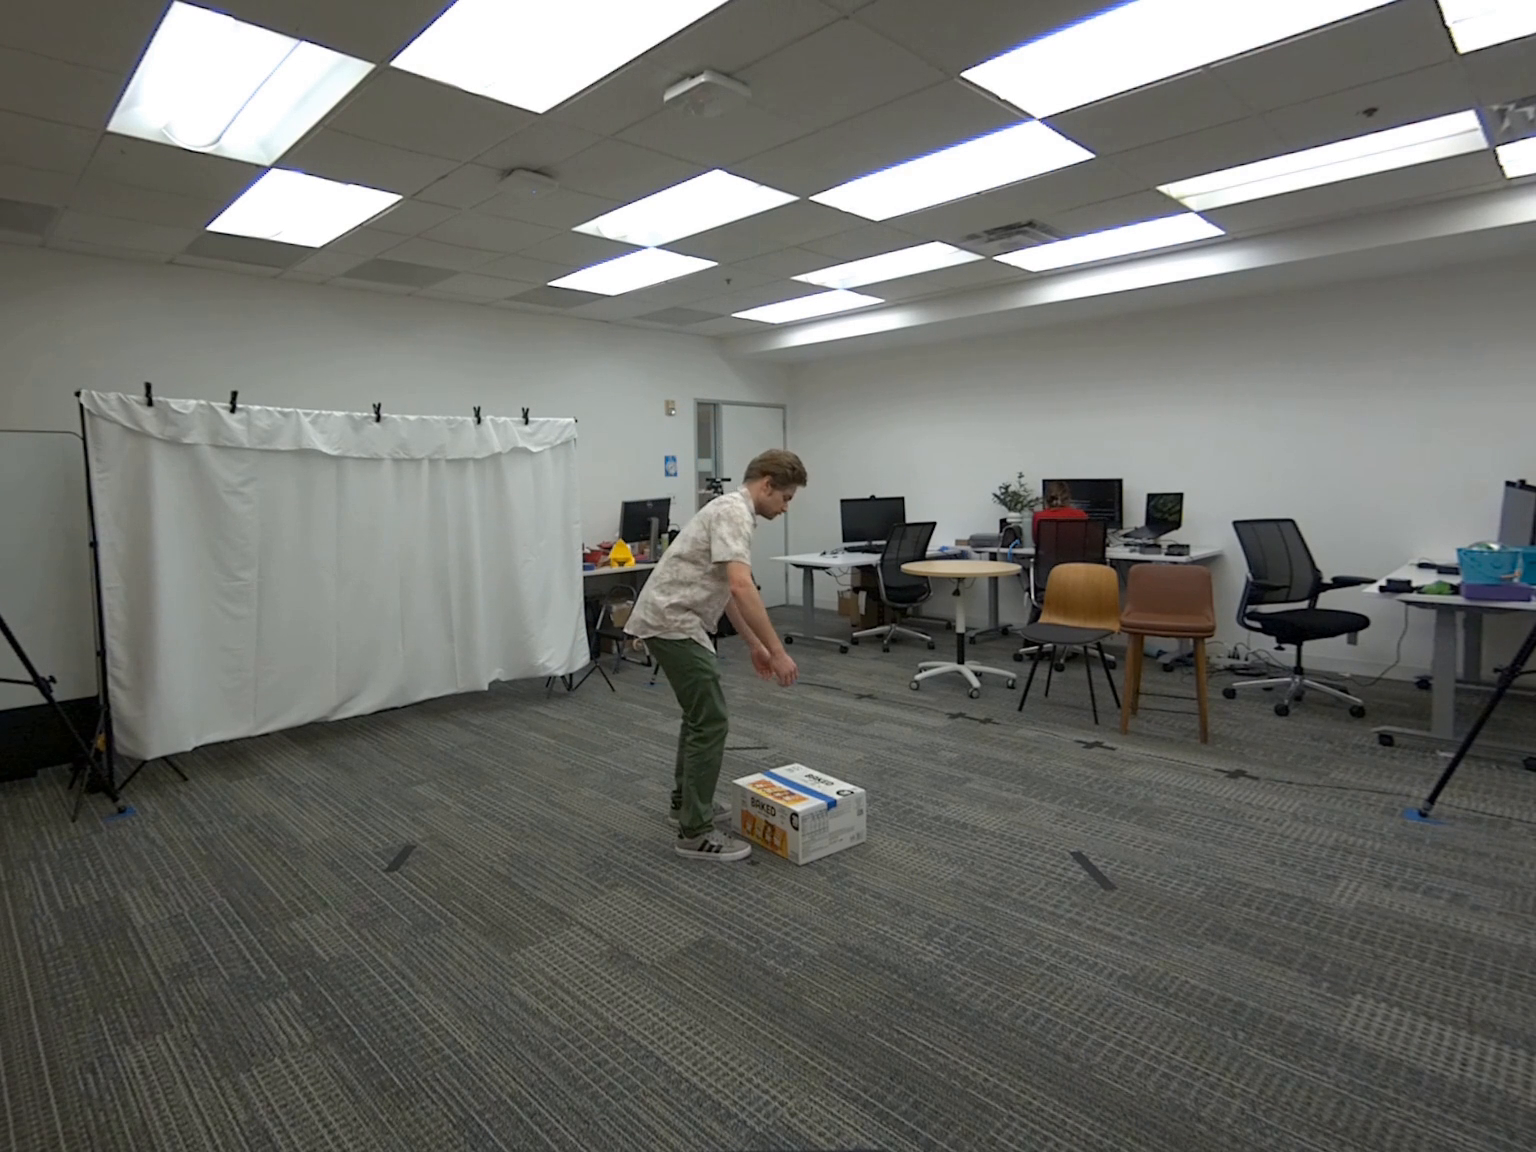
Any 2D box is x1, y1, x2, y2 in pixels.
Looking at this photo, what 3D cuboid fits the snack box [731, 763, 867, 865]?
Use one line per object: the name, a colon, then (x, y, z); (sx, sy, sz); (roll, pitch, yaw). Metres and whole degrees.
snack box: (0.117, 0.915, 3.318); (0.332, 0.205, 0.417); (-6, 7, -37)
